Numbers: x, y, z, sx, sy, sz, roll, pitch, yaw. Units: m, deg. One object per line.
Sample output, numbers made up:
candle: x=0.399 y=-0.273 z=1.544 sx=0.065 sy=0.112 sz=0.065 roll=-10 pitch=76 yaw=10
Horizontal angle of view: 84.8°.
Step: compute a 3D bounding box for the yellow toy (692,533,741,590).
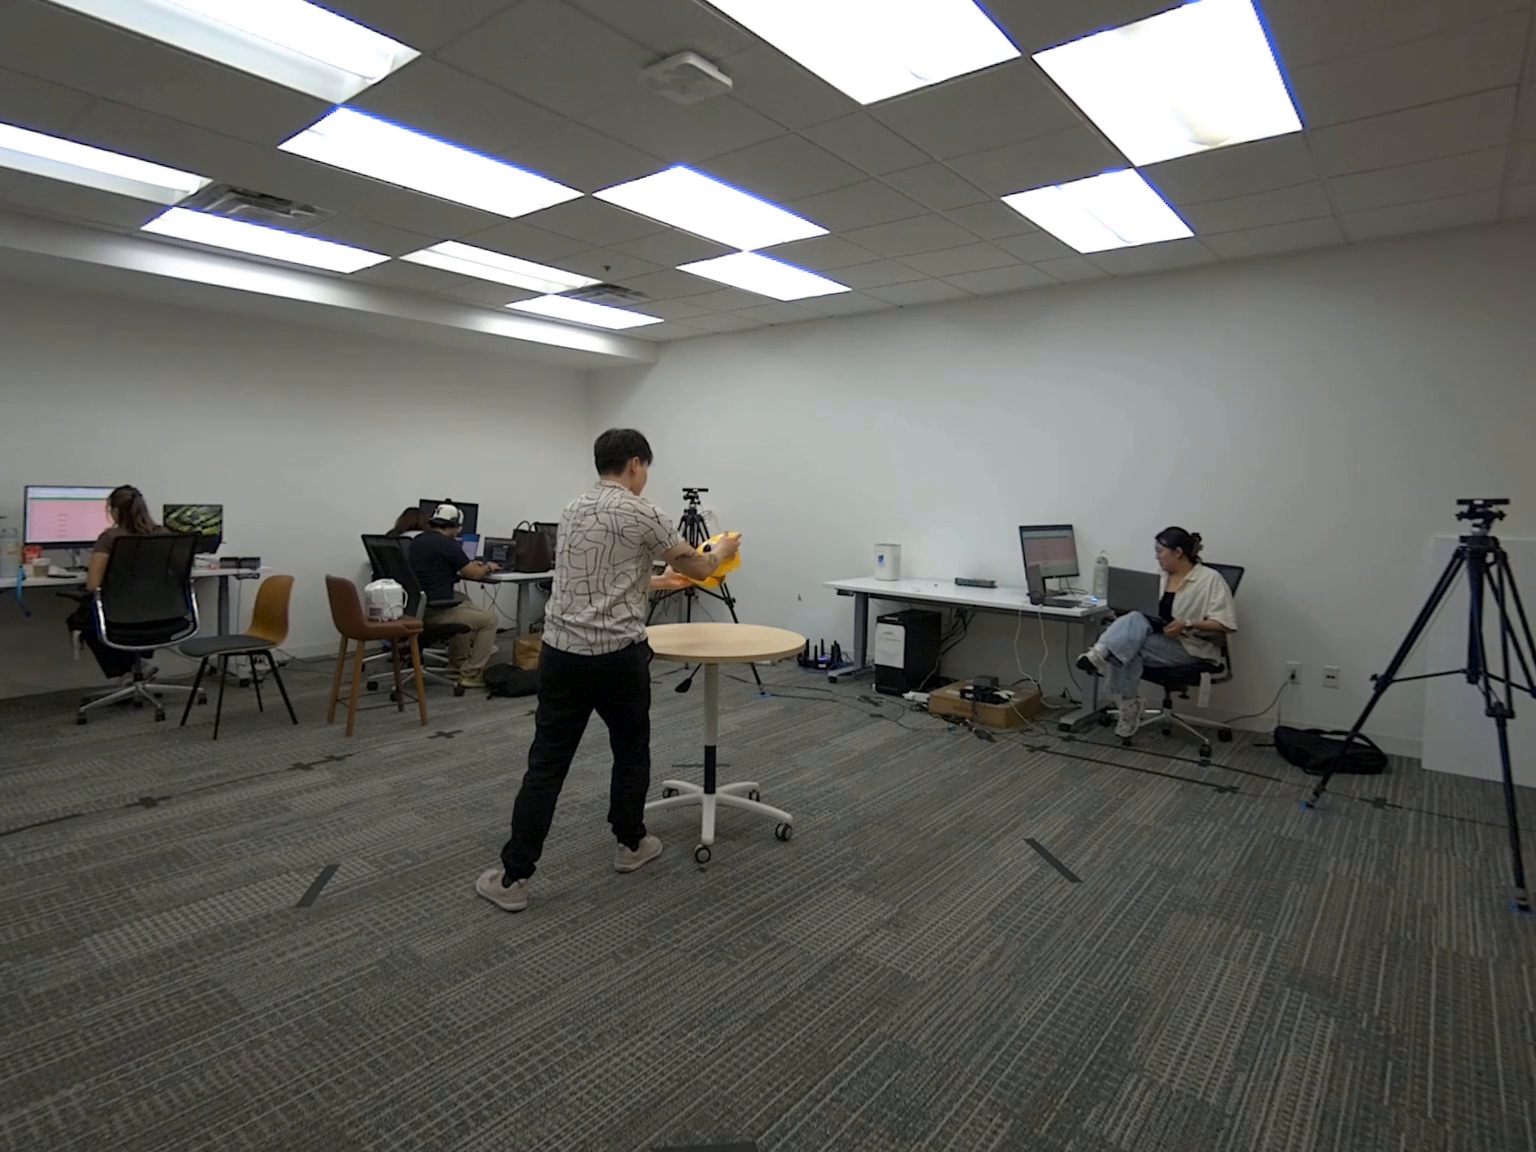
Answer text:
yellow toy: x=-0.234 y=-0.096 z=3.402 sx=0.198 sy=0.228 sz=0.202 roll=26 pitch=18 yaw=17
